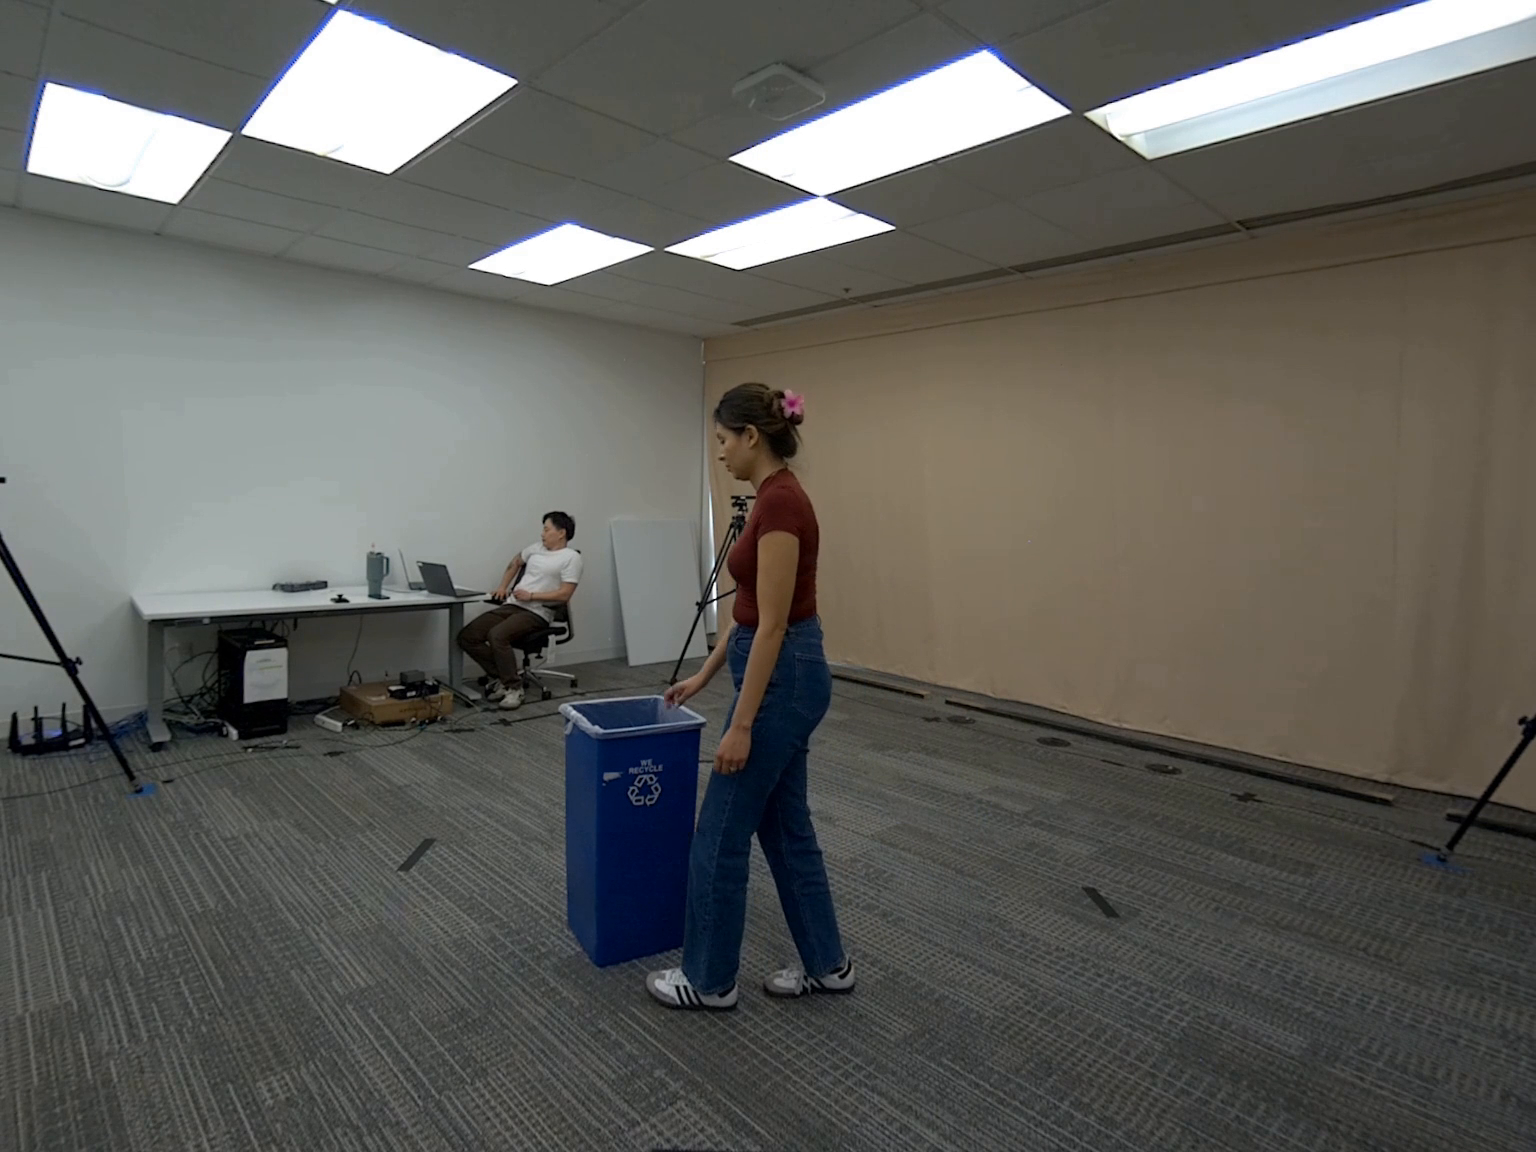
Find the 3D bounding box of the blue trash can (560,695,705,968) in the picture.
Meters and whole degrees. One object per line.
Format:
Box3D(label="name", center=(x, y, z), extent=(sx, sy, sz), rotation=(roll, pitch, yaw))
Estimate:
Box3D(label="blue trash can", center=(-0.444, 0.780, 2.653), extent=(0.366, 0.712, 0.387), rotation=(-1, 4, -31))
